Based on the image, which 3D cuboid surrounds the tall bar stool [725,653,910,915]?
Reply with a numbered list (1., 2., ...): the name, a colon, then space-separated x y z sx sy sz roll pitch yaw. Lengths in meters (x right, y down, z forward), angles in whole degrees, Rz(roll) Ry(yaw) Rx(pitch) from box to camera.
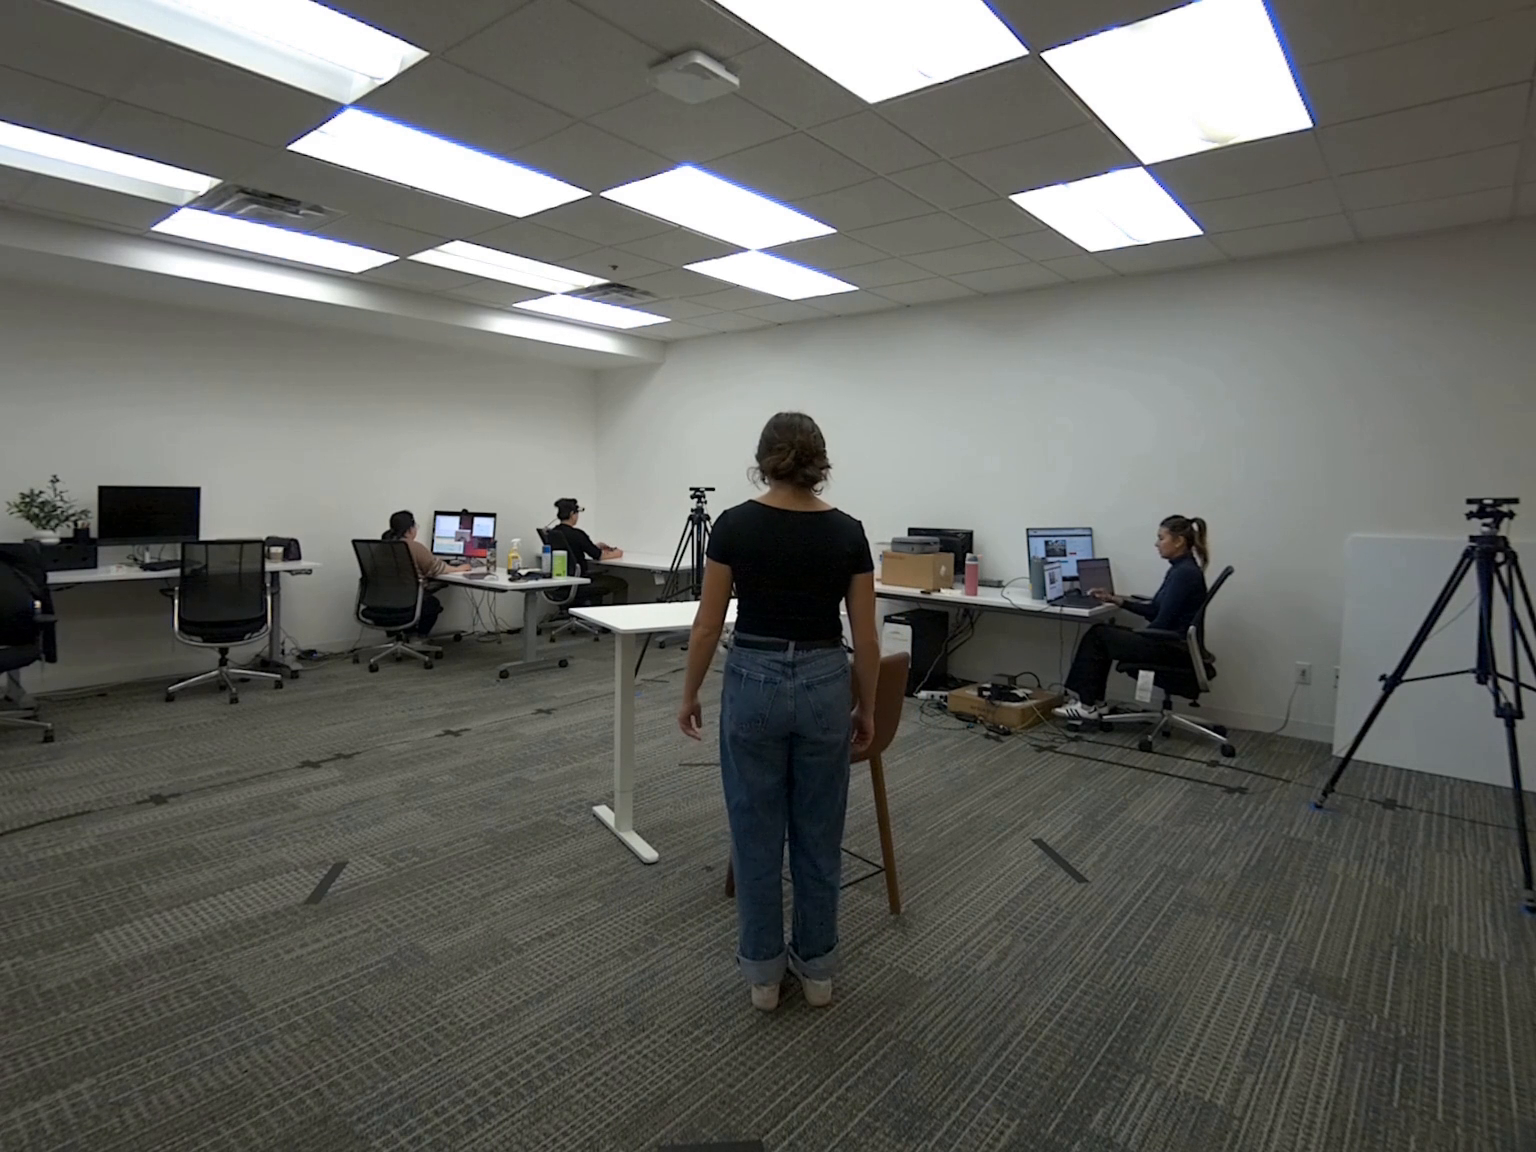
1. tall bar stool: 0.166 0.664 2.836 0.442 0.886 0.484 -1 7 -42
